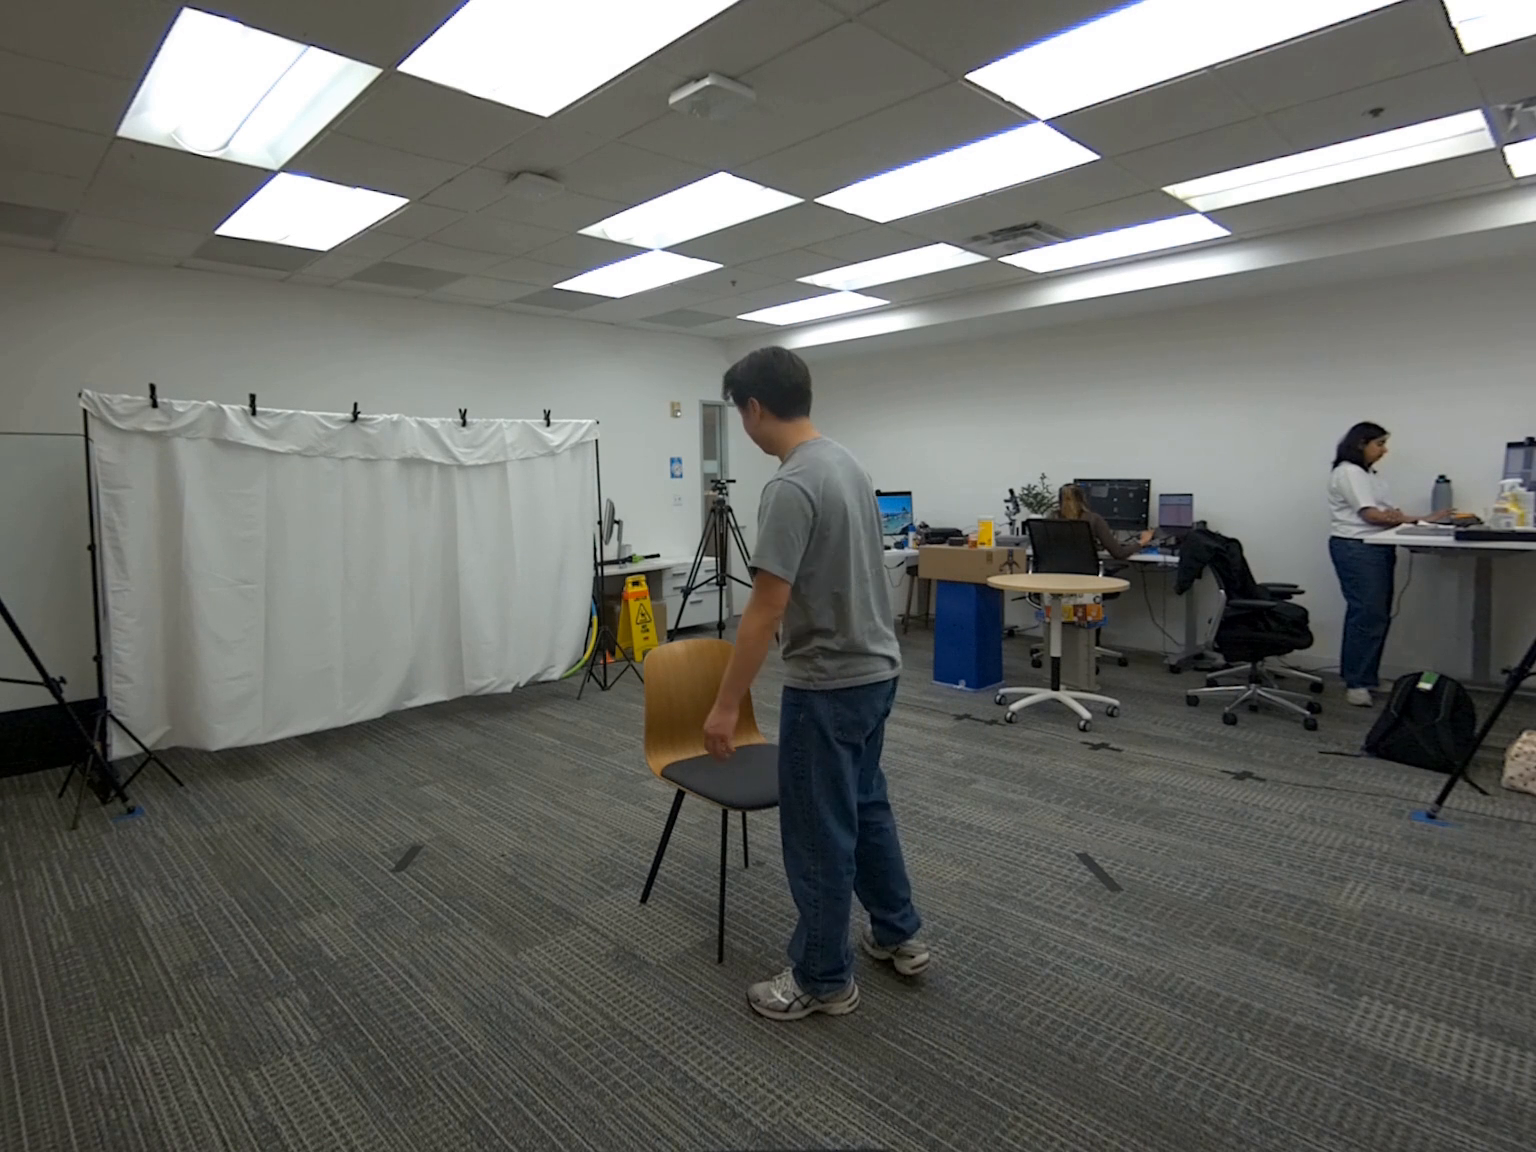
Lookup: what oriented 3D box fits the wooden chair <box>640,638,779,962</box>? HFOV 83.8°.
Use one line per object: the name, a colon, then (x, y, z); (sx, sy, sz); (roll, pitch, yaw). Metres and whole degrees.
wooden chair: (-0.109, 0.663, 2.743); (0.466, 0.877, 0.537); (-4, 1, -37)
